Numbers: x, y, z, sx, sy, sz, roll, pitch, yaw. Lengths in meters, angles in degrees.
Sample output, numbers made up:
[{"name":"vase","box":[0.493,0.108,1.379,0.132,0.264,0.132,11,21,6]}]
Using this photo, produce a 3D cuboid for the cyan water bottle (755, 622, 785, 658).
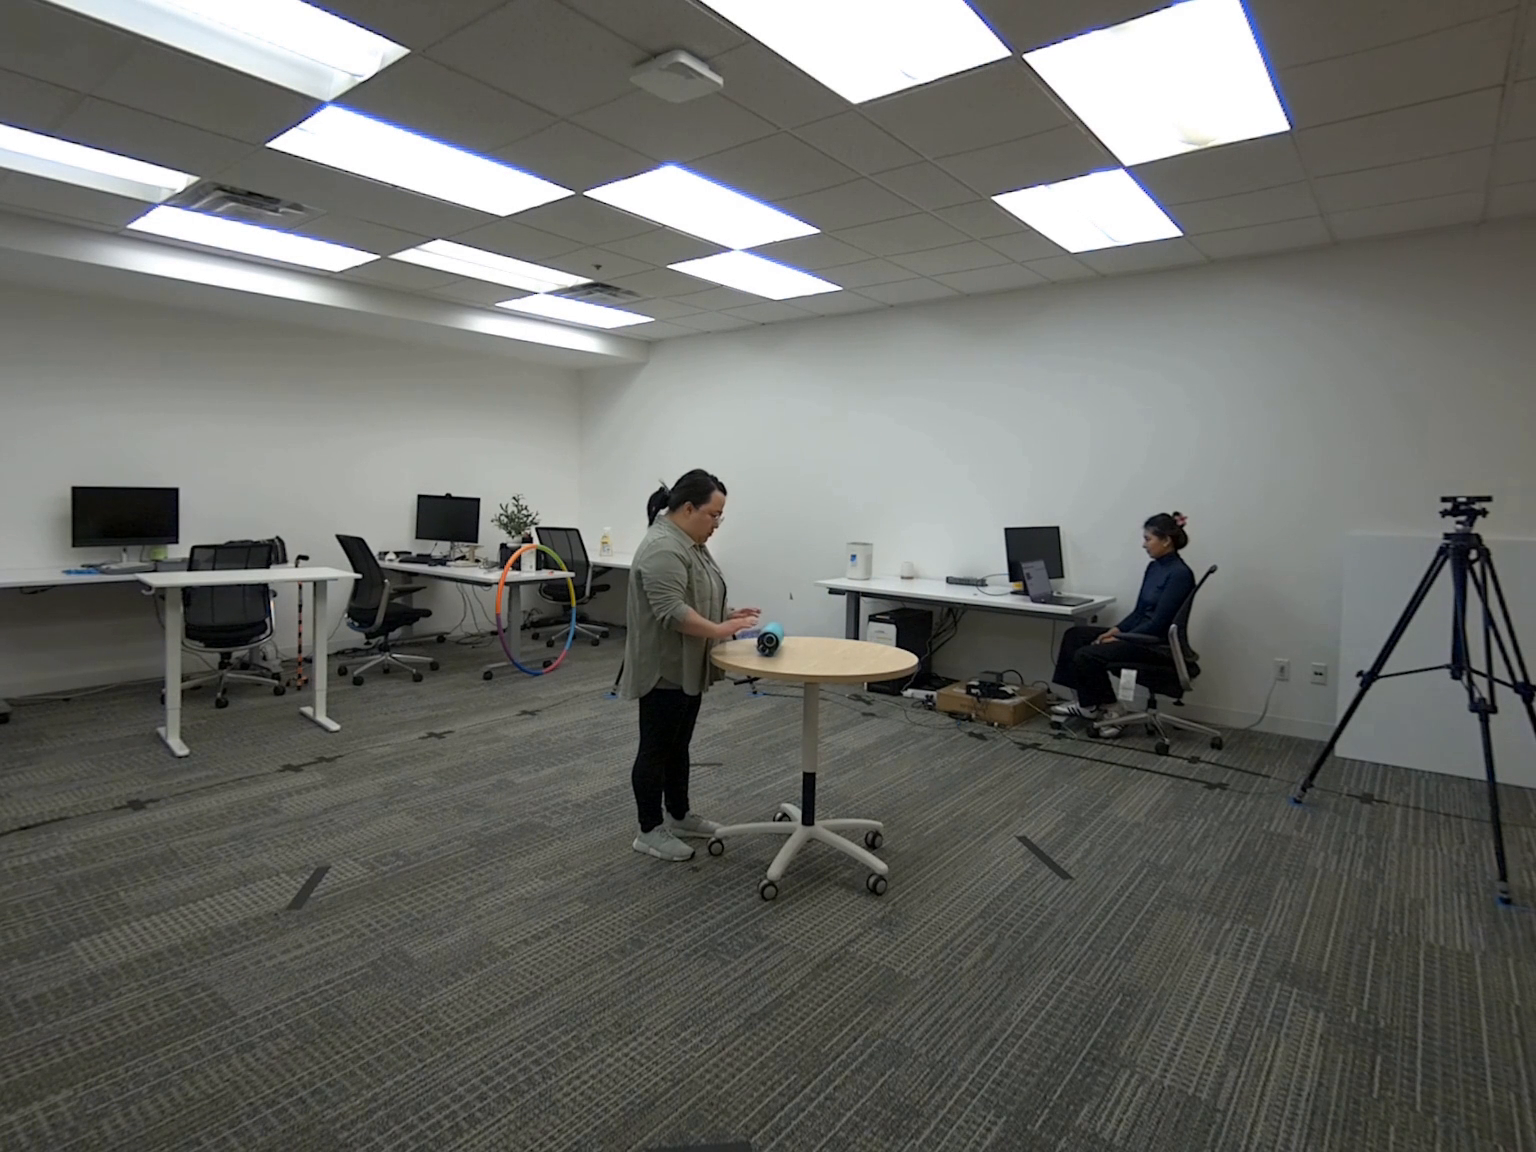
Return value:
[{"name":"cyan water bottle","box":[-0.002,0.235,3.194,0.093,0.092,0.283,1,5,3]}]
